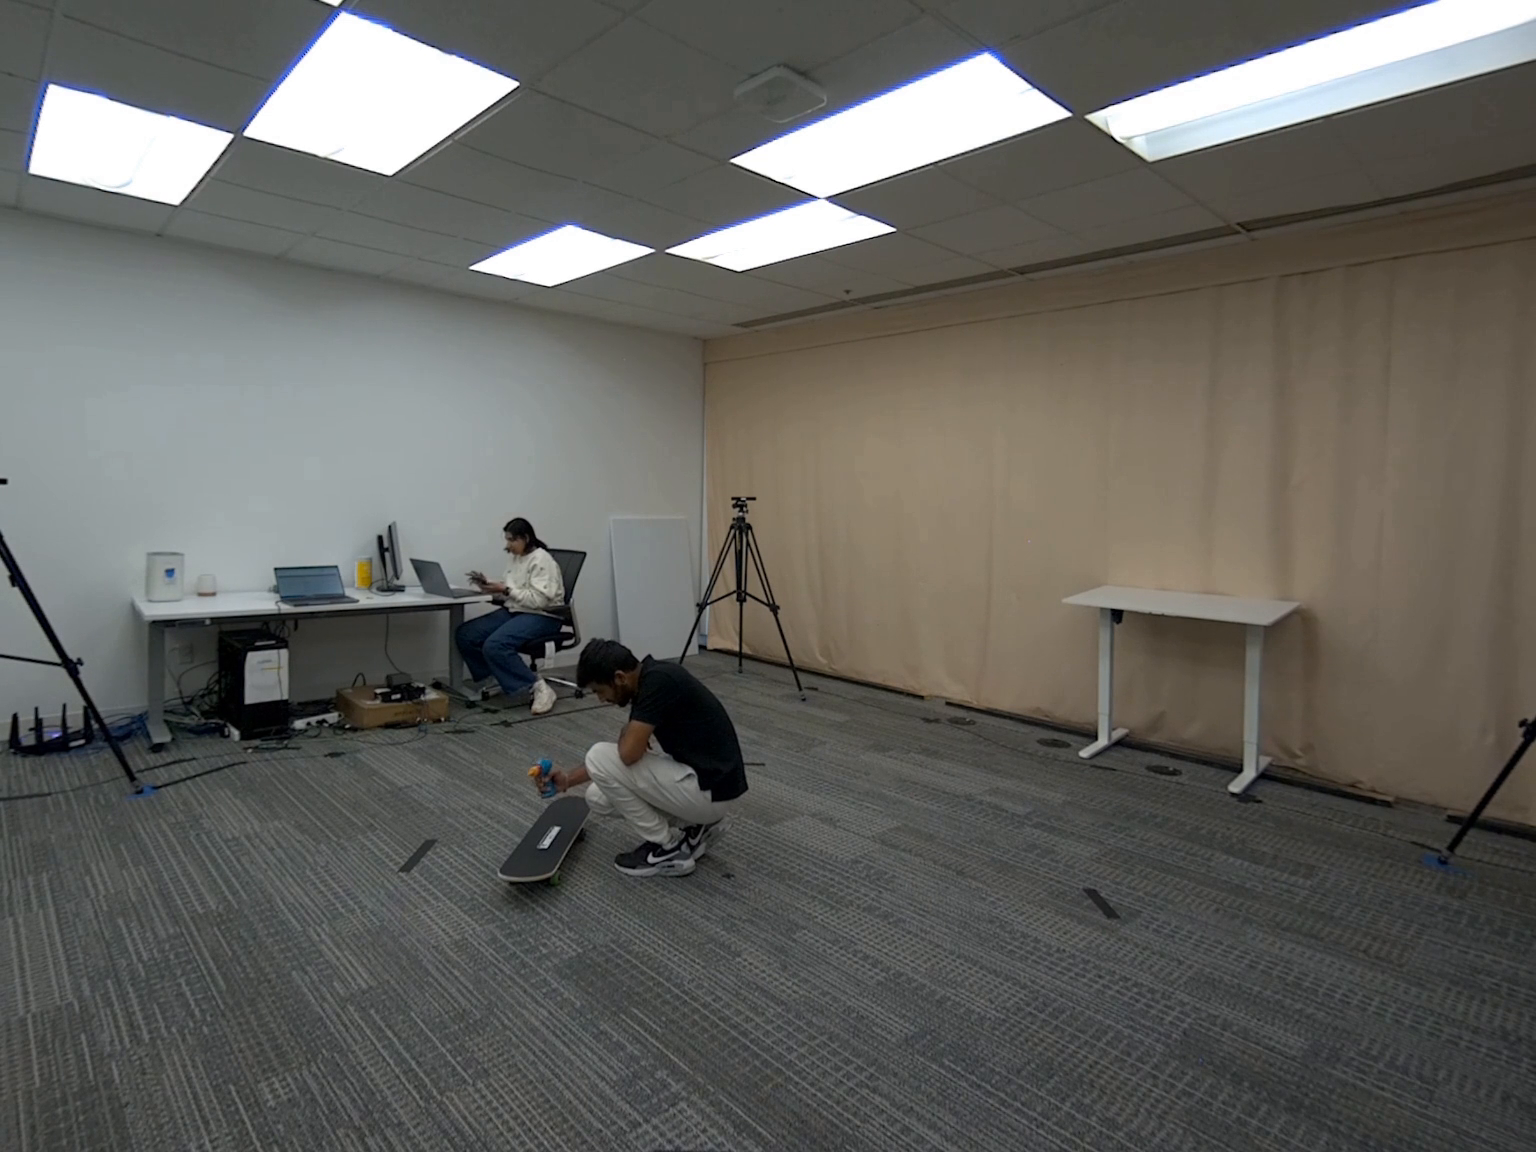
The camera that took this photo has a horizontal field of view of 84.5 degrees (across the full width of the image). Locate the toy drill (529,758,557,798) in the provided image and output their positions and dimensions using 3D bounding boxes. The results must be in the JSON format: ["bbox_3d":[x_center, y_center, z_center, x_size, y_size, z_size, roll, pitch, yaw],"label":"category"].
[{"bbox_3d":[-0.854,0.766,3.157,0.061,0.146,0.168,-15,-2,10],"label":"toy drill"}]
